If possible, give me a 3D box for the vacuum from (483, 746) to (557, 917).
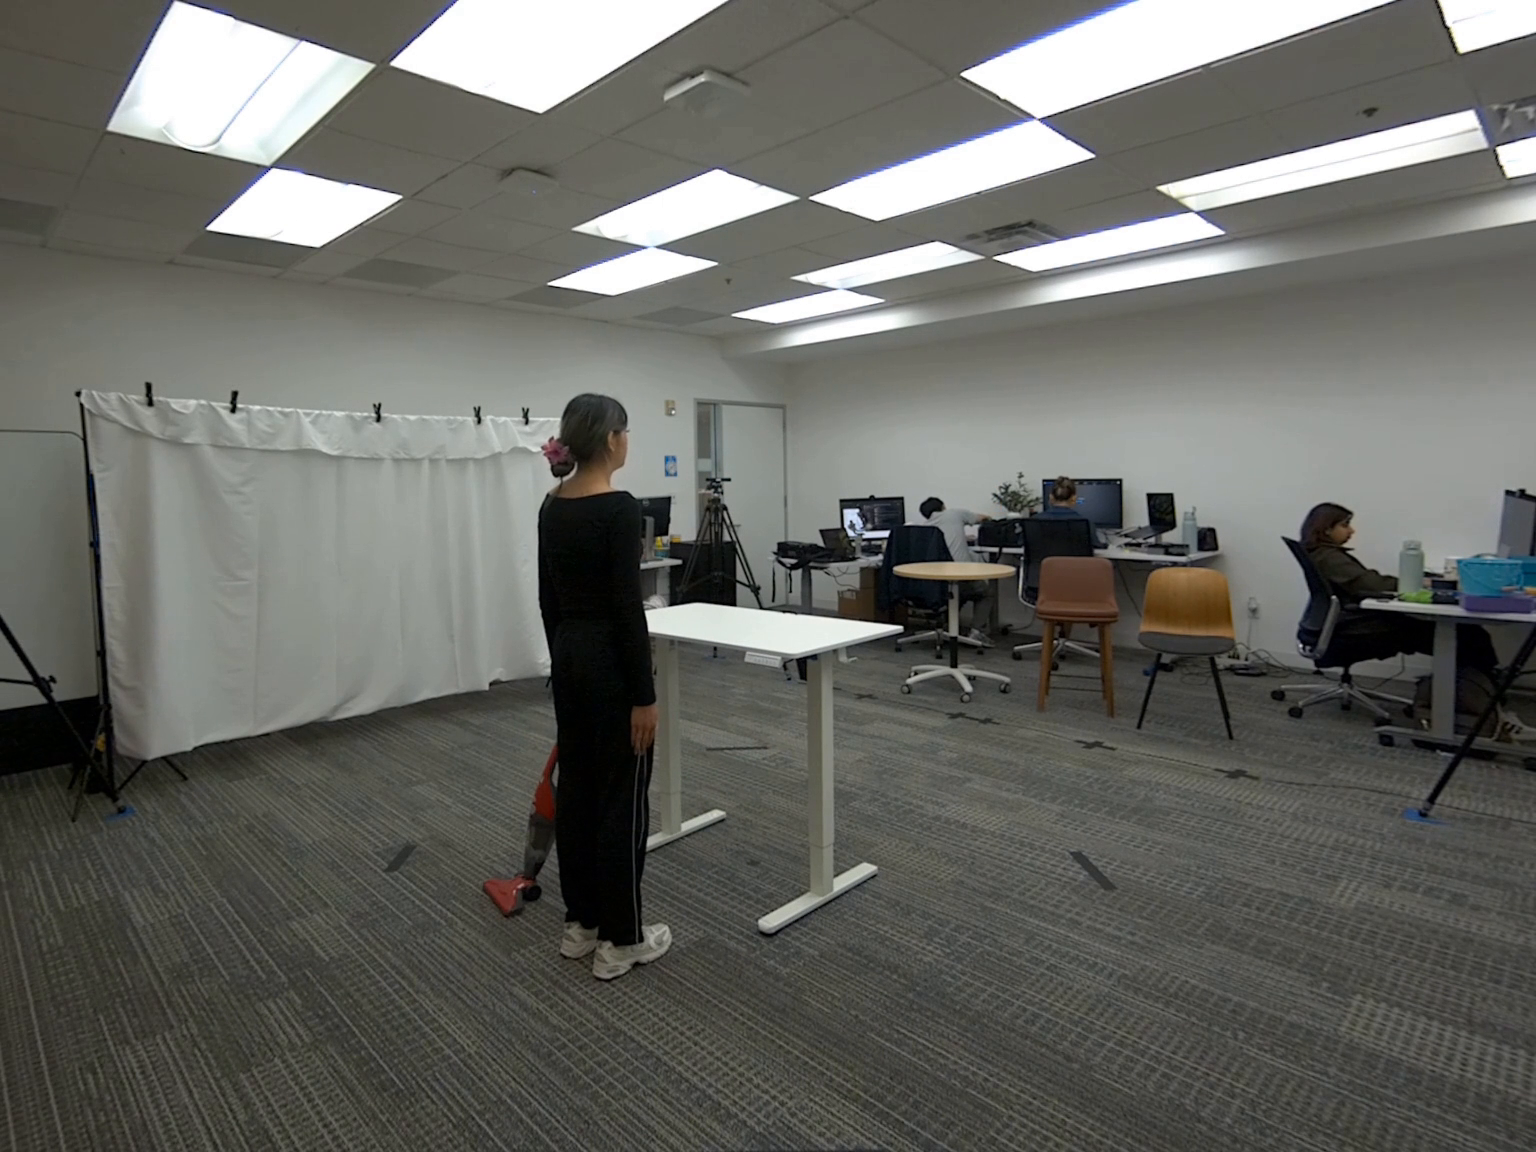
[{"bbox_3d":[-0.693,0.592,2.986,0.139,1.056,0.260,27,-15,-35],"label":"vacuum"}]
